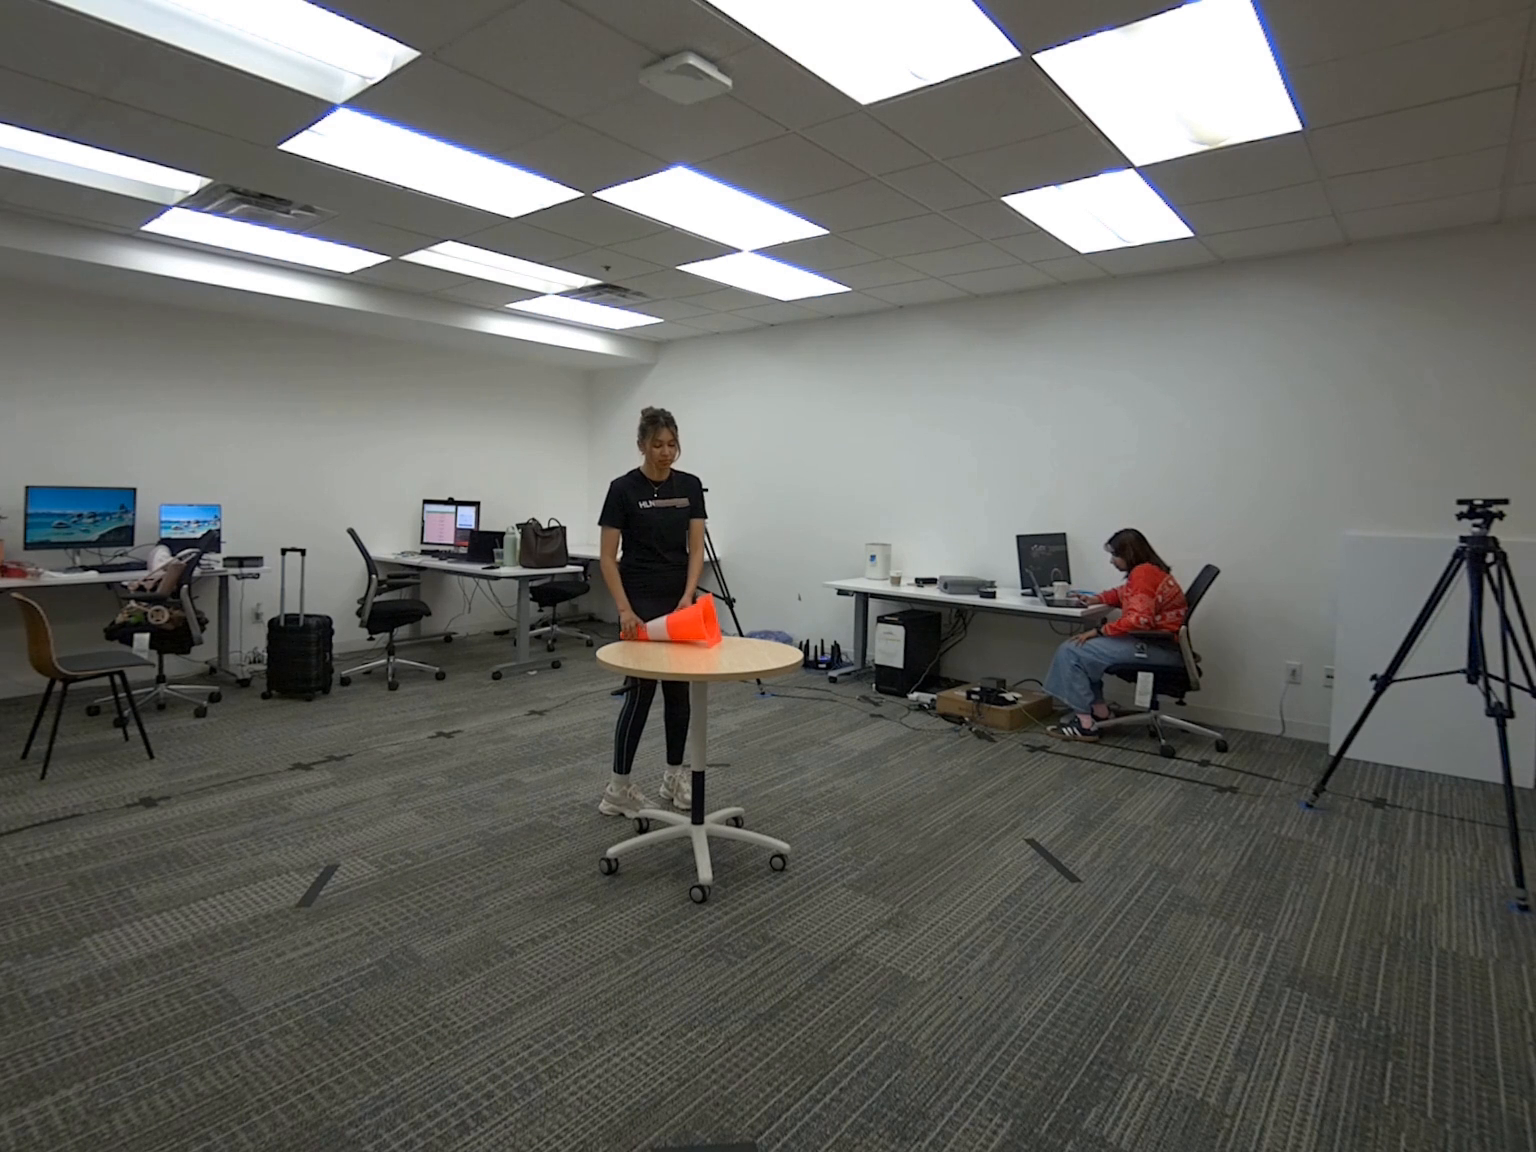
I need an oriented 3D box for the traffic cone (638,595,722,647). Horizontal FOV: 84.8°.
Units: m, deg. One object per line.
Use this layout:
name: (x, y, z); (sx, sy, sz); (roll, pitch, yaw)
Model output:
traffic cone: (-0.414, 0.207, 3.369); (0.387, 0.203, 0.203); (-13, 1, 12)
